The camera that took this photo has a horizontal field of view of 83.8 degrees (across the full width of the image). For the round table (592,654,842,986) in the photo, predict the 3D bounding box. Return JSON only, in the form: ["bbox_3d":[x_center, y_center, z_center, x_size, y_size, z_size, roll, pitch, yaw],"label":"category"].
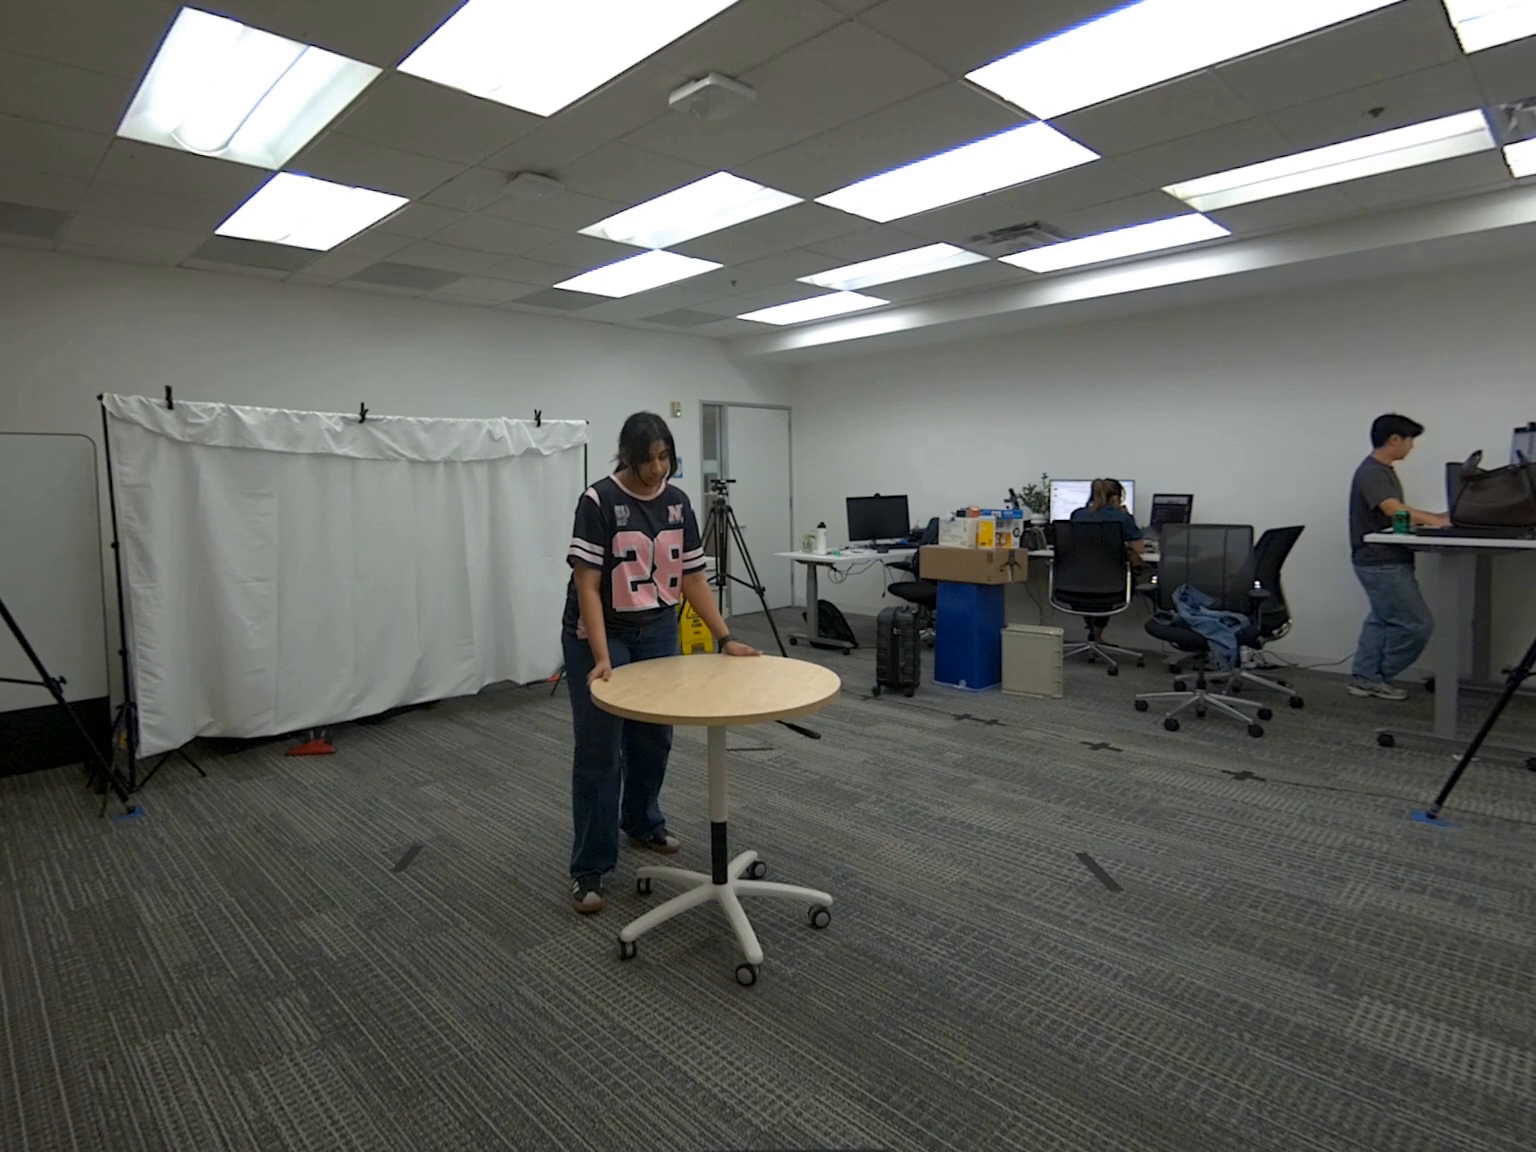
[{"bbox_3d":[-0.157,0.705,2.676,0.784,0.783,0.789,-1,5,-2],"label":"round table"}]
